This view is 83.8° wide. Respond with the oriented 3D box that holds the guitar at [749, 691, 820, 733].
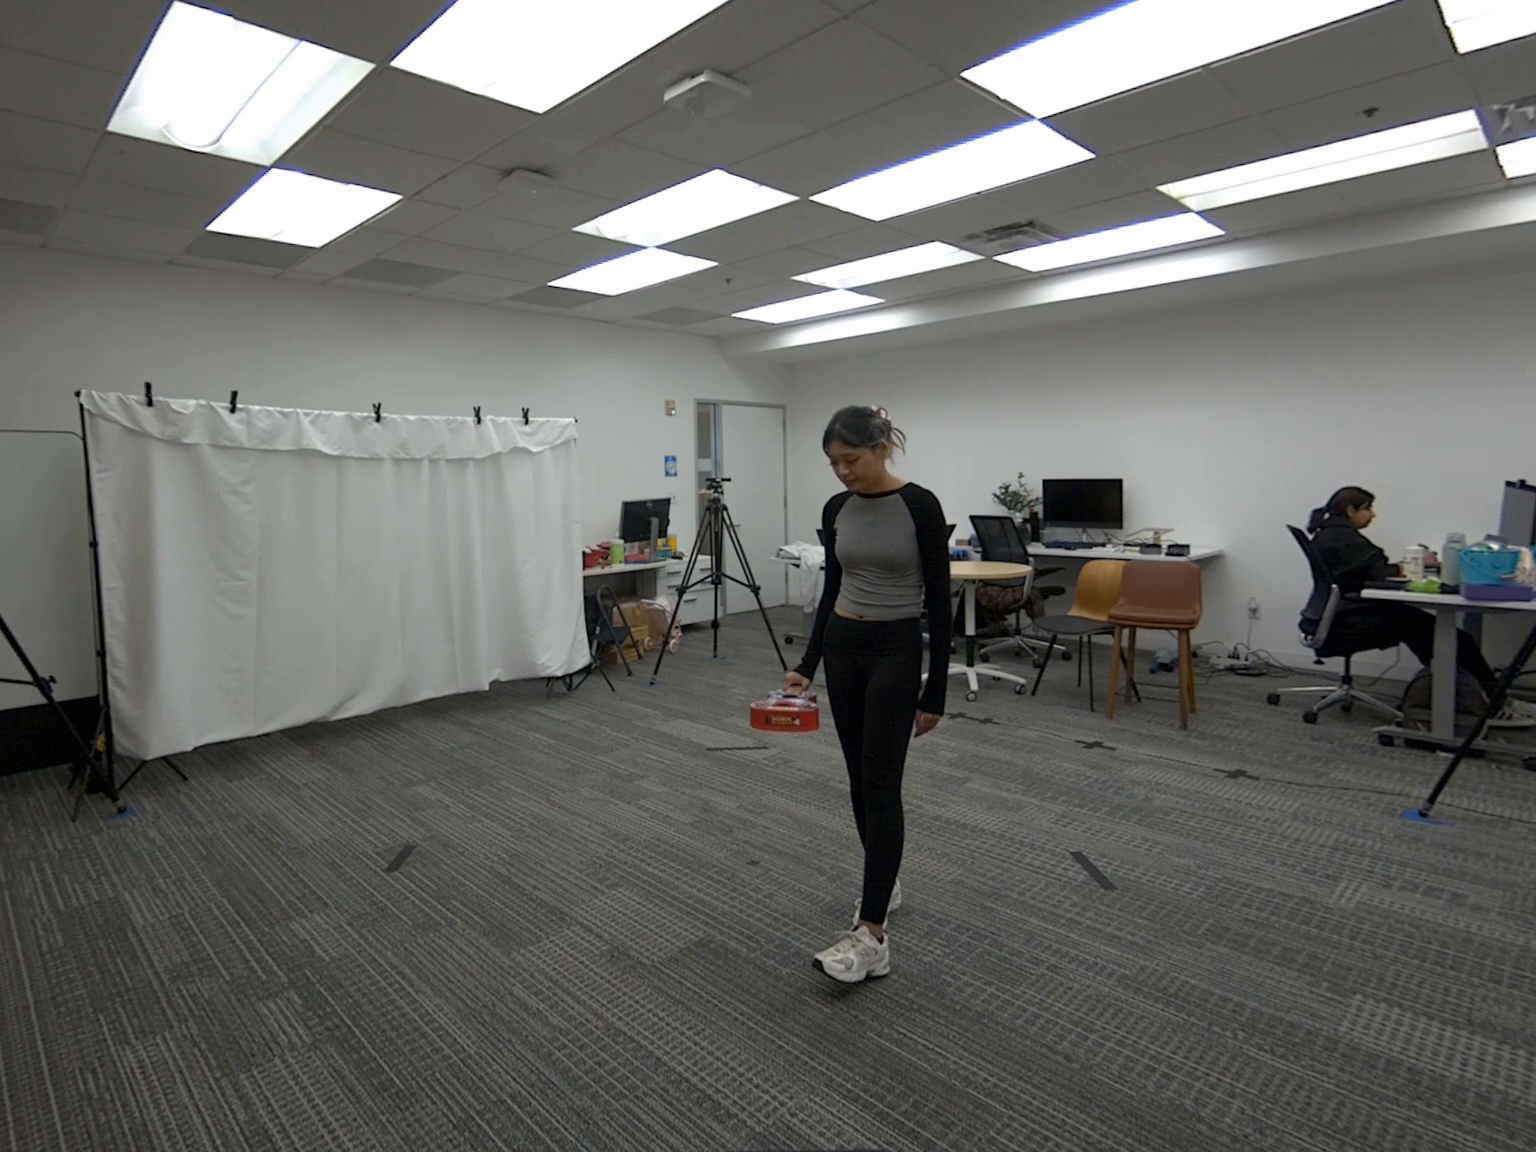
[{"bbox_3d":[0.091,0.370,2.569,0.196,0.070,0.491,1,6,17],"label":"guitar"}]
